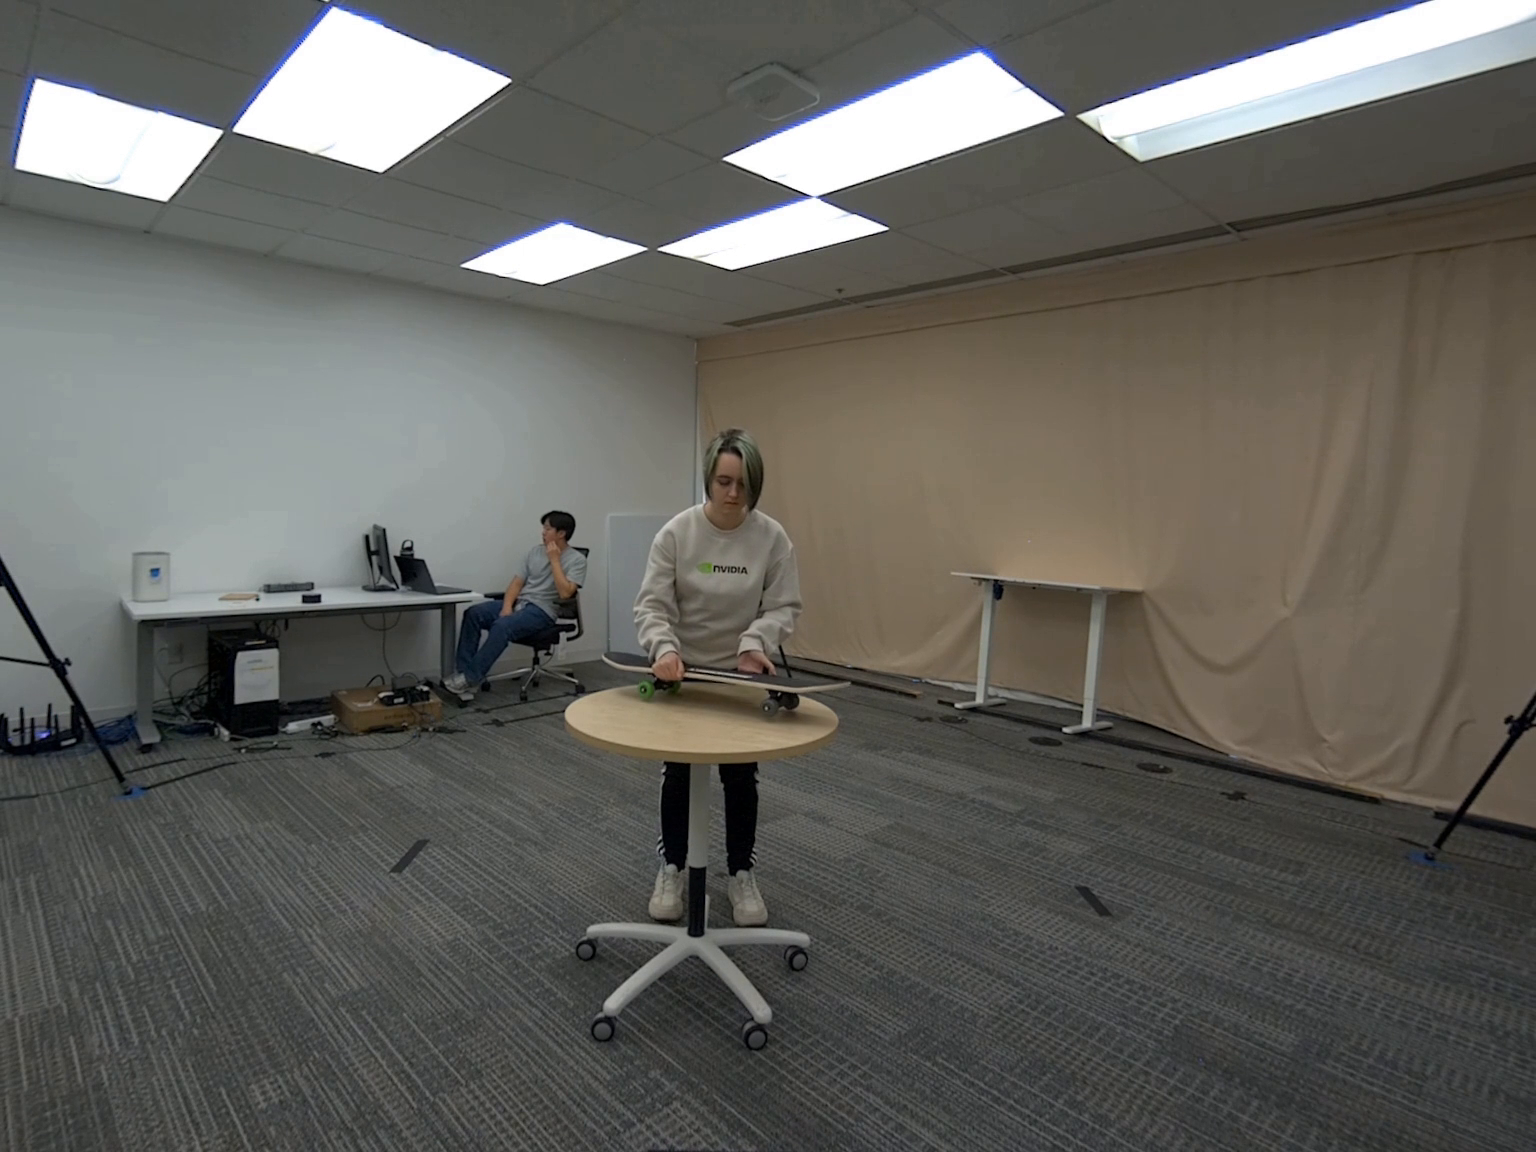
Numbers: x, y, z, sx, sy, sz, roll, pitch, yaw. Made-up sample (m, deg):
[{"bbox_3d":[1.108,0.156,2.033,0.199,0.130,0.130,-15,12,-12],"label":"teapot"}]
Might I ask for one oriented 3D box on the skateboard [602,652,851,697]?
[{"bbox_3d":[-0.162,0.323,2.452,0.801,0.110,0.189,3,0,26],"label":"skateboard"}]
